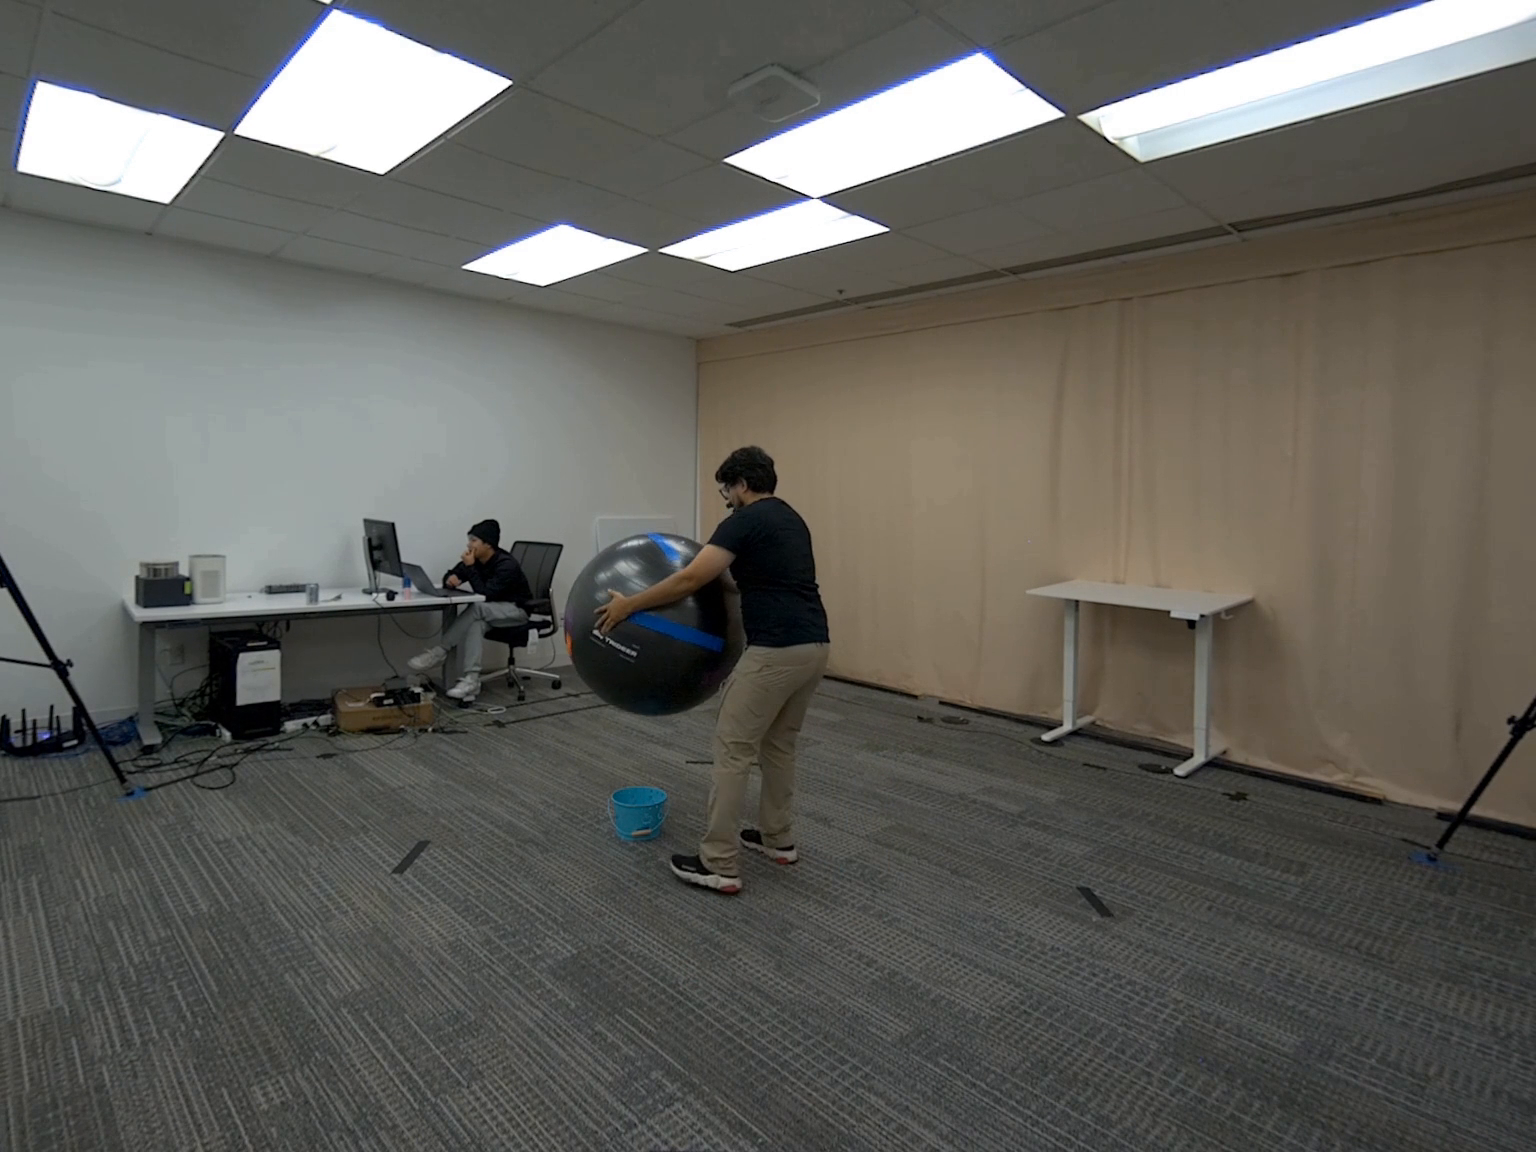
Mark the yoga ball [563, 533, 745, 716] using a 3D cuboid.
[{"bbox_3d":[-0.471,0.206,3.525,0.757,0.756,0.761,1,4,-1],"label":"yoga ball"}]
